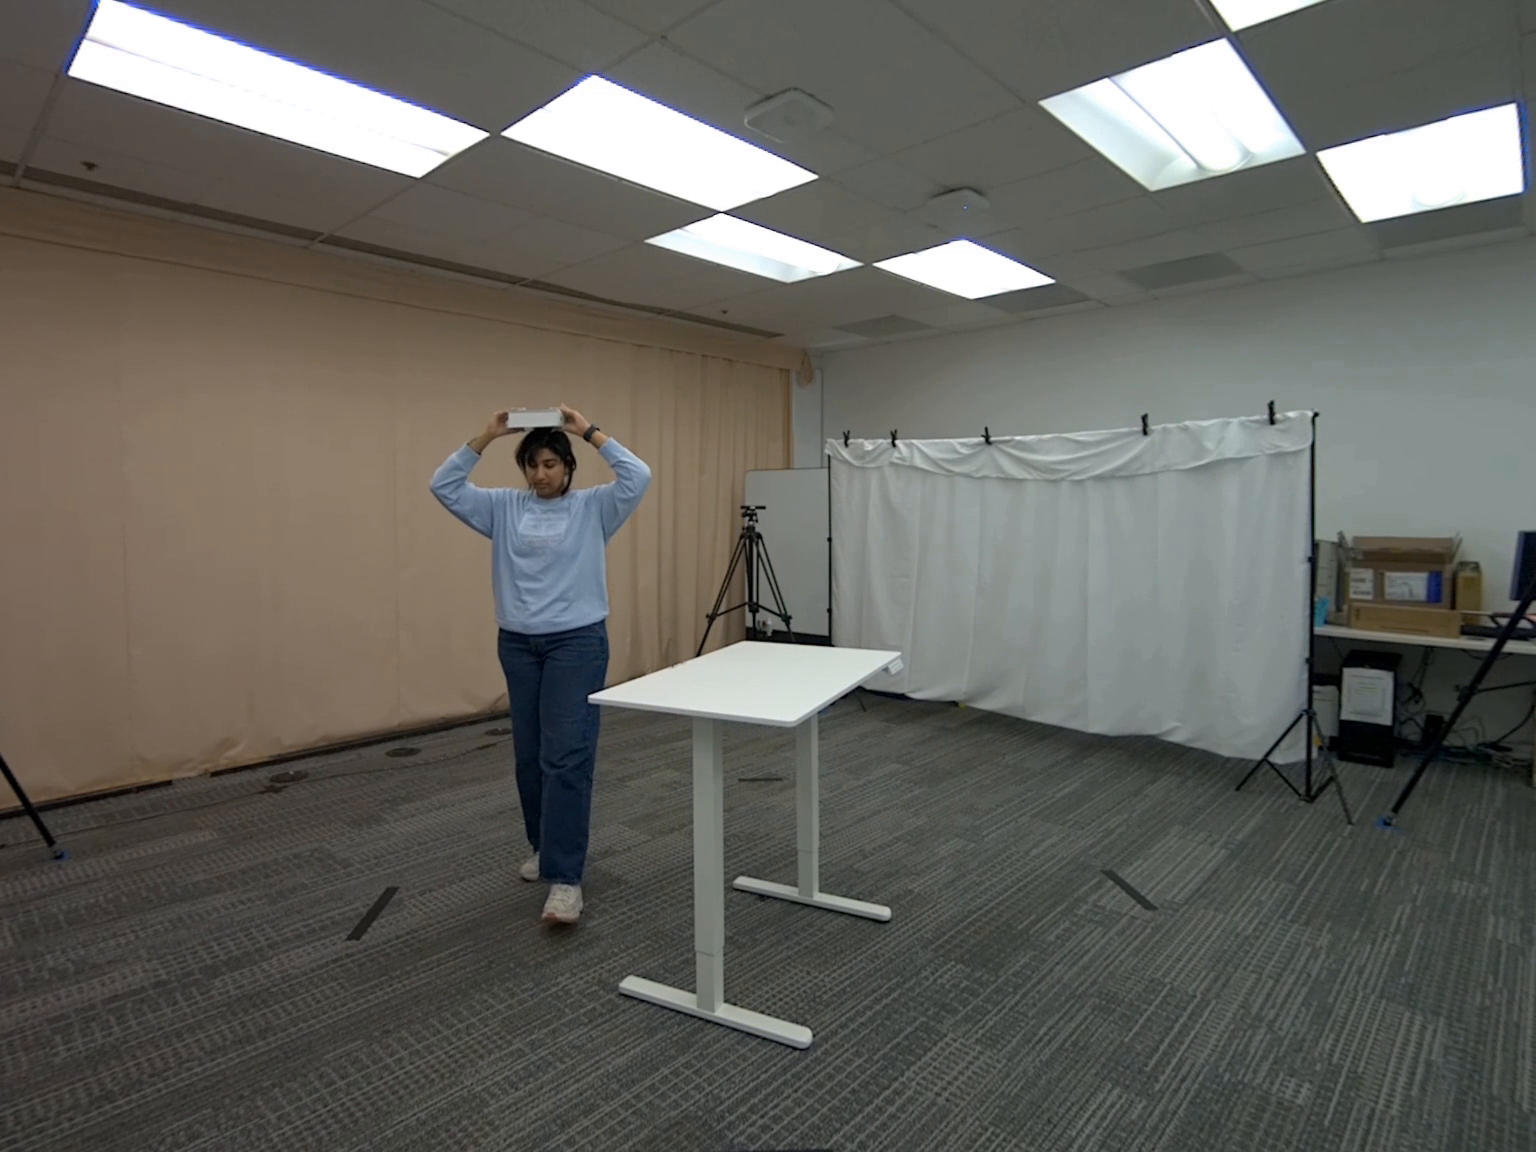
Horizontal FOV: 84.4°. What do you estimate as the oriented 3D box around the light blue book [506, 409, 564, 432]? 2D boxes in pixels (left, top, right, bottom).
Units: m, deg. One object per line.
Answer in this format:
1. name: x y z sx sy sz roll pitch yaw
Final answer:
1. light blue book: -0.826 -0.565 3.023 0.191 0.059 0.262 -1 8 -1
